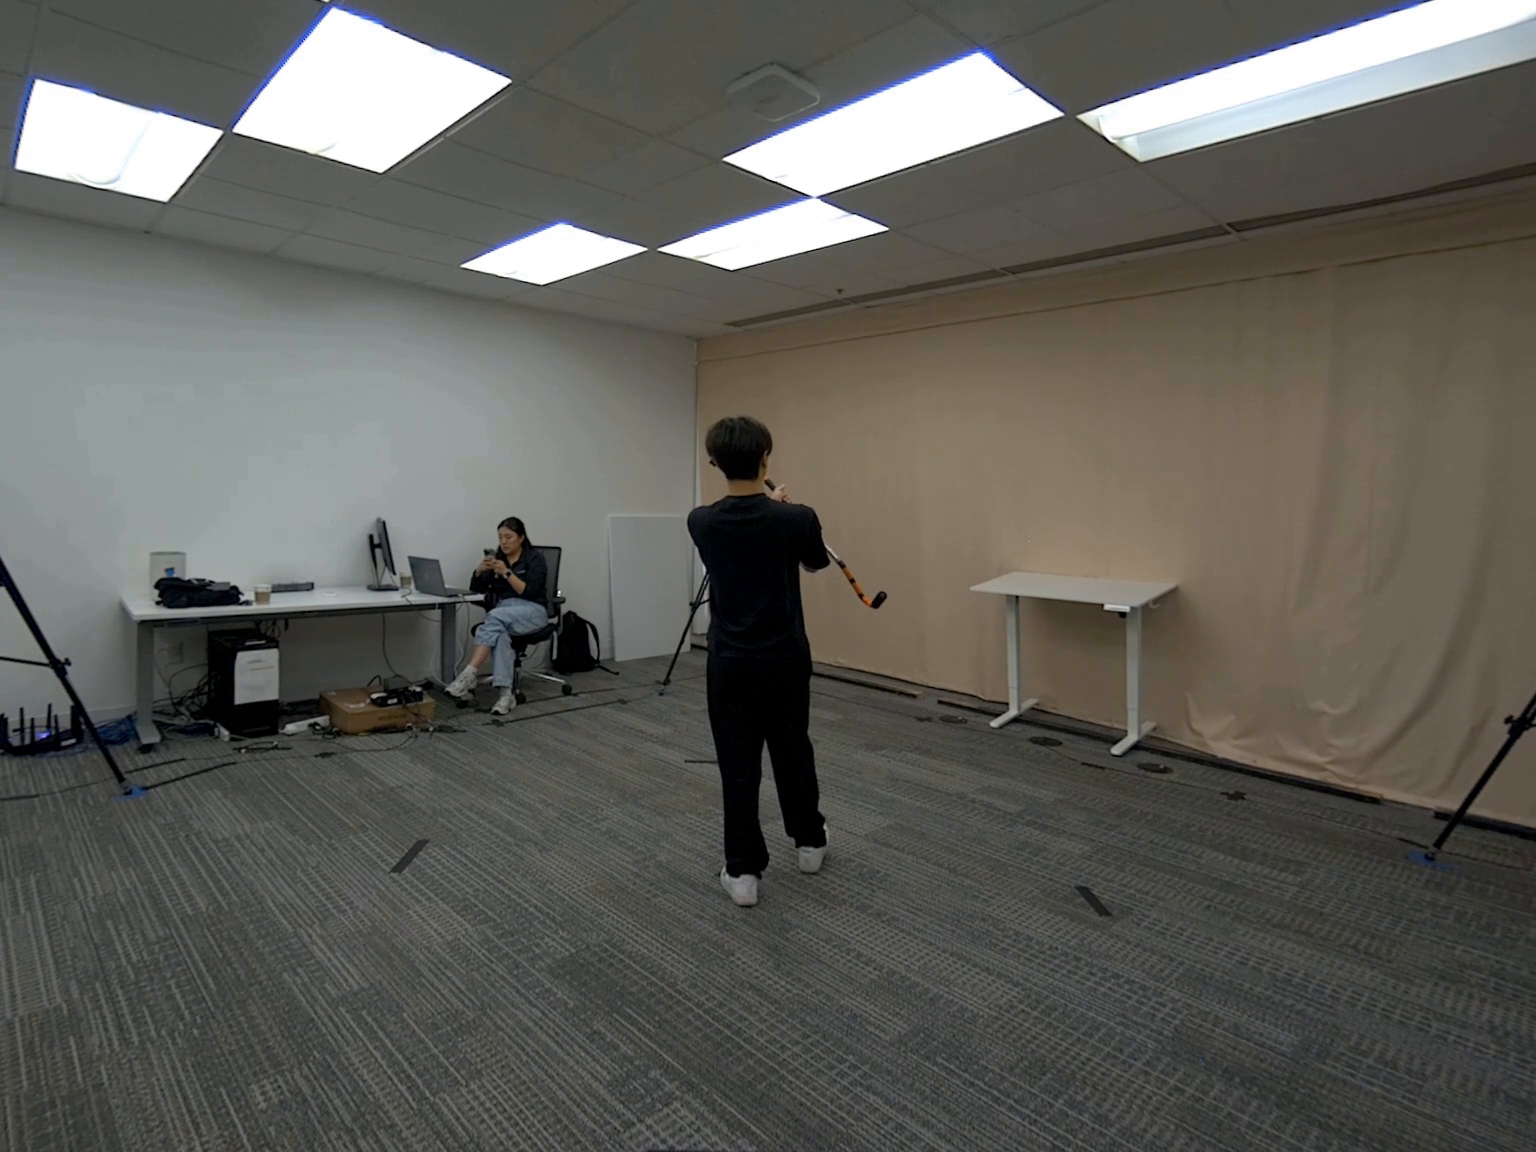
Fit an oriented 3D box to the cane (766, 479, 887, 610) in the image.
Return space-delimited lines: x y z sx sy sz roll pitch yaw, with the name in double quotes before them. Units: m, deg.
"cane" 0.119 -0.210 3.335 0.151 0.922 0.204 -35 -15 -18
